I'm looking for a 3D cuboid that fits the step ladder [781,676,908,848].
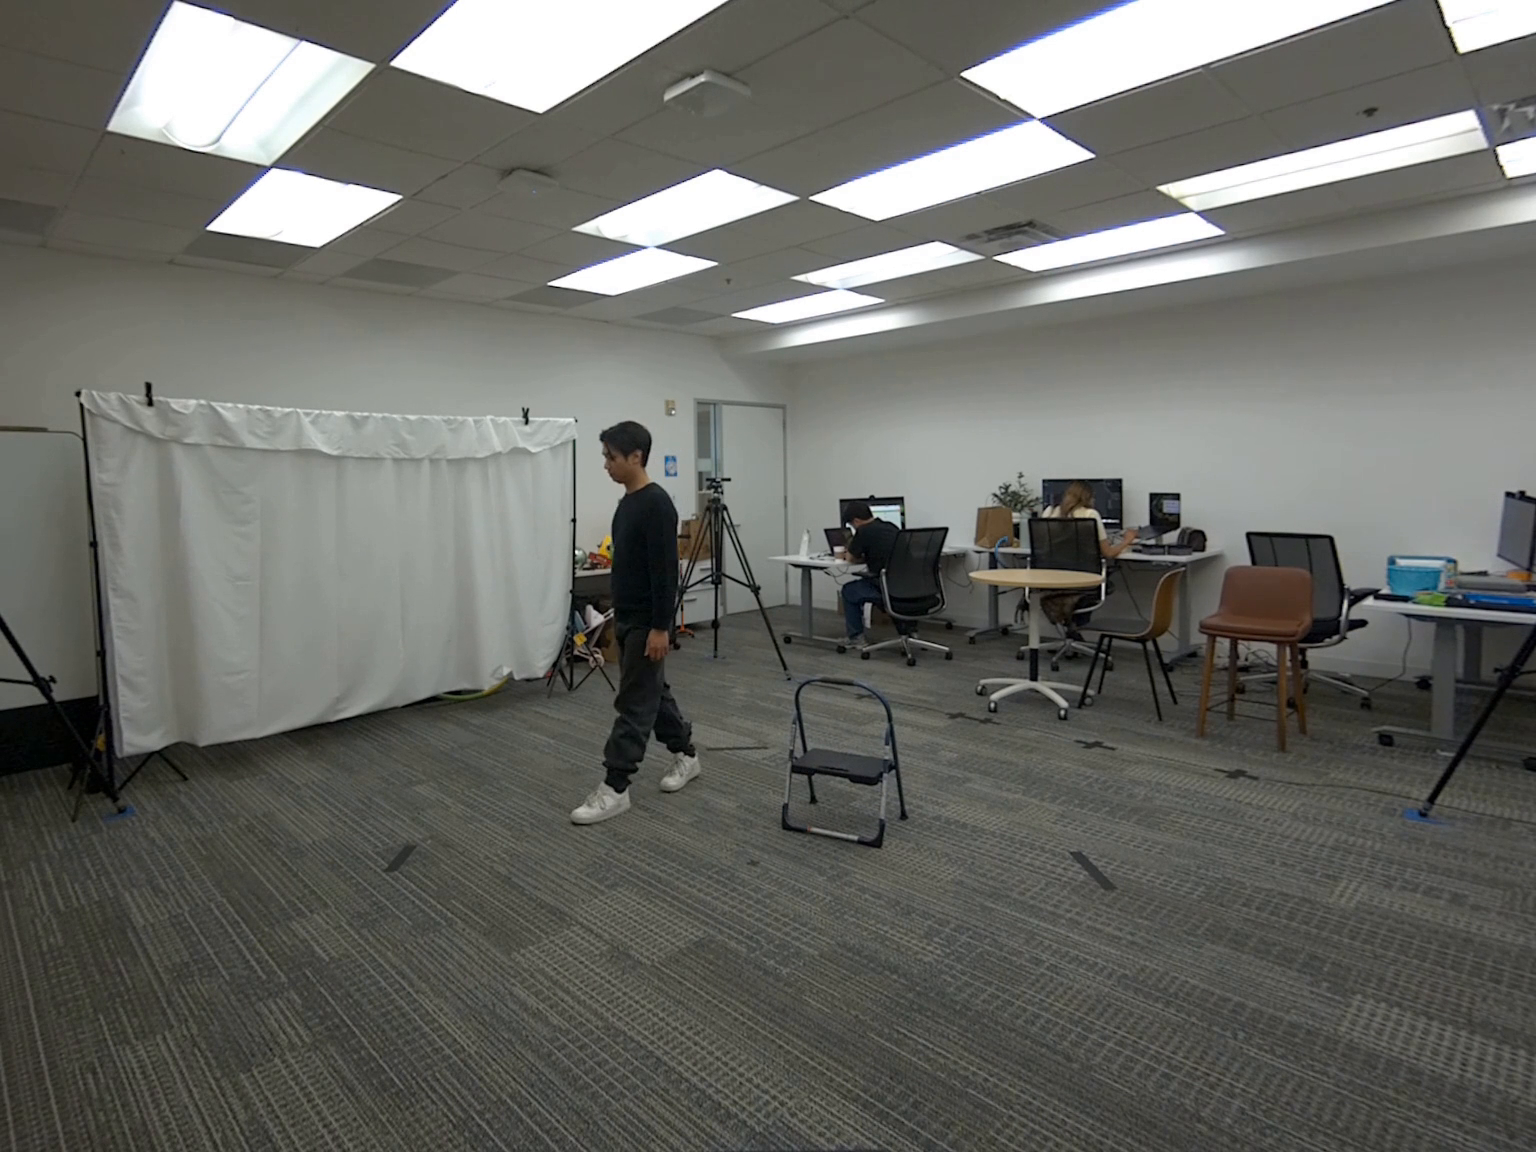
[{"bbox_3d":[0.308,0.696,3.432,0.441,0.604,0.342,1,3,27],"label":"step ladder"}]
